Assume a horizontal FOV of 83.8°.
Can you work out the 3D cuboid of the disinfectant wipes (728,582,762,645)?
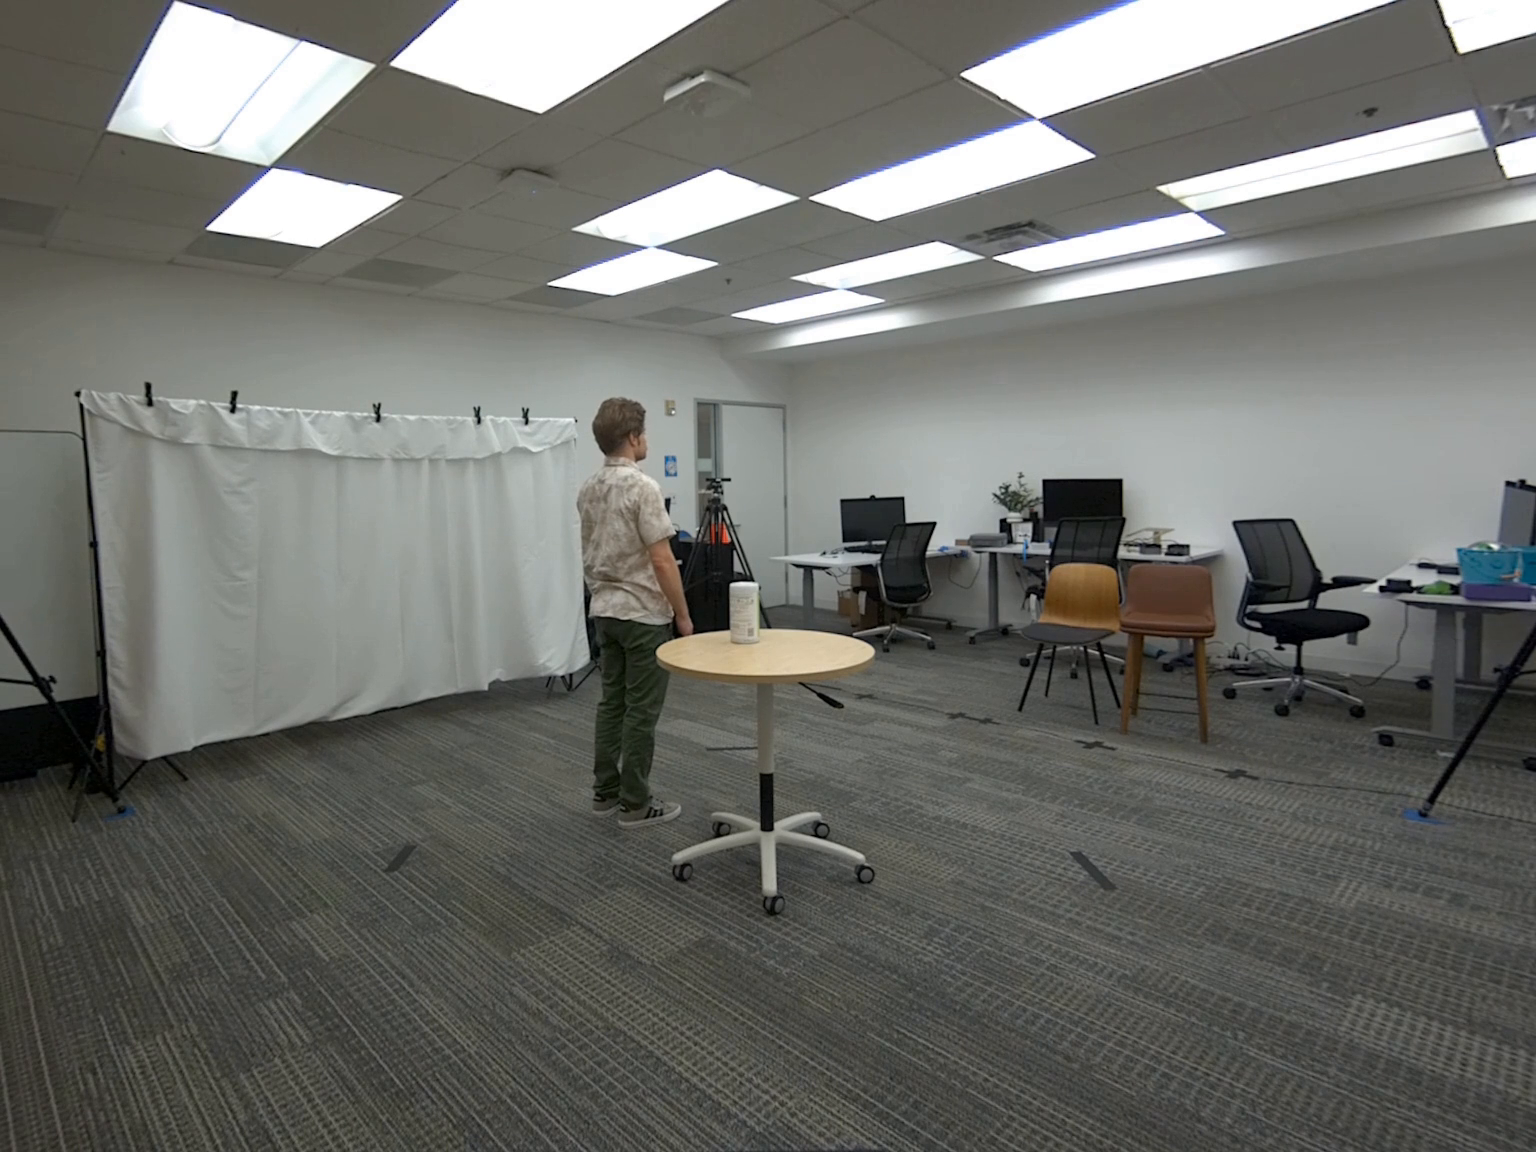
[{"bbox_3d":[-0.089,0.134,3.153,0.118,0.217,0.118,0,1,-2],"label":"disinfectant wipes"}]
